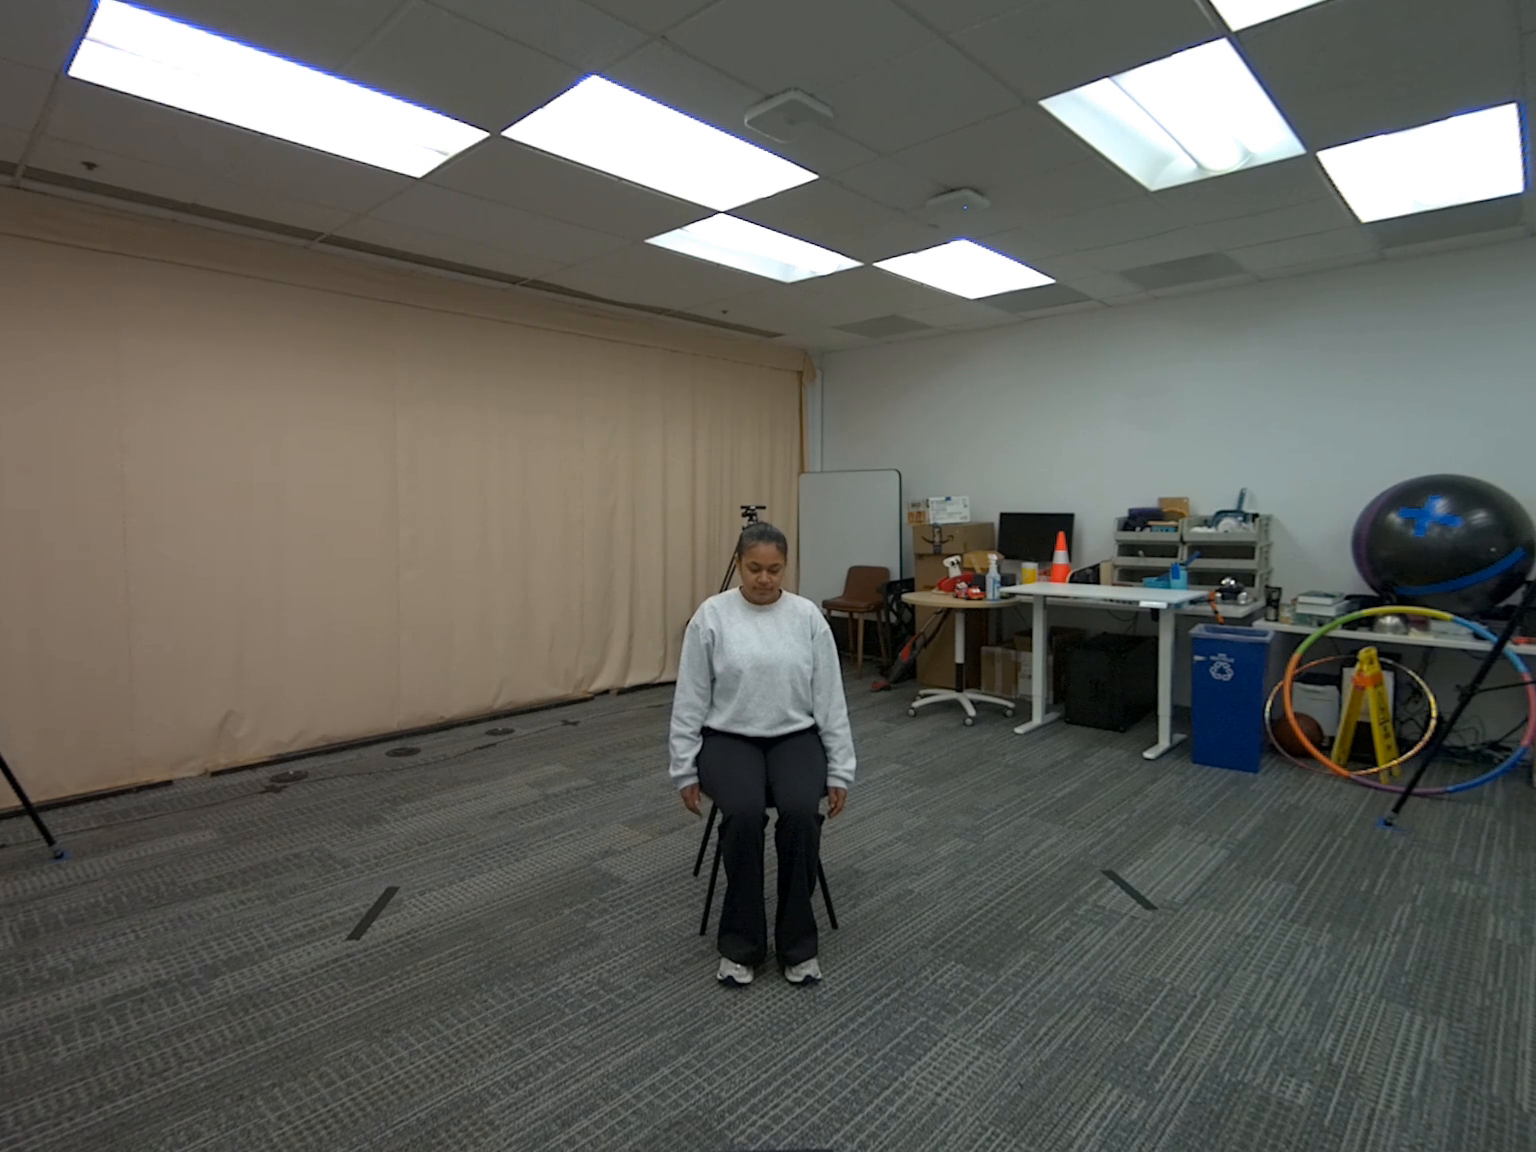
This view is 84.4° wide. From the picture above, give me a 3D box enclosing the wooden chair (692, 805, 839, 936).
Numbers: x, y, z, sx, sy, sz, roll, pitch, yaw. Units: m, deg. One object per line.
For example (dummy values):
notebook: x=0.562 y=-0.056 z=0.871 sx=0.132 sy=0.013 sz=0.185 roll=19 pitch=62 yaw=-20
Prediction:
wooden chair: x=-0.022 y=0.723 z=2.934 sx=0.474 sy=0.877 sz=0.527 roll=0 pitch=0 yaw=-8
